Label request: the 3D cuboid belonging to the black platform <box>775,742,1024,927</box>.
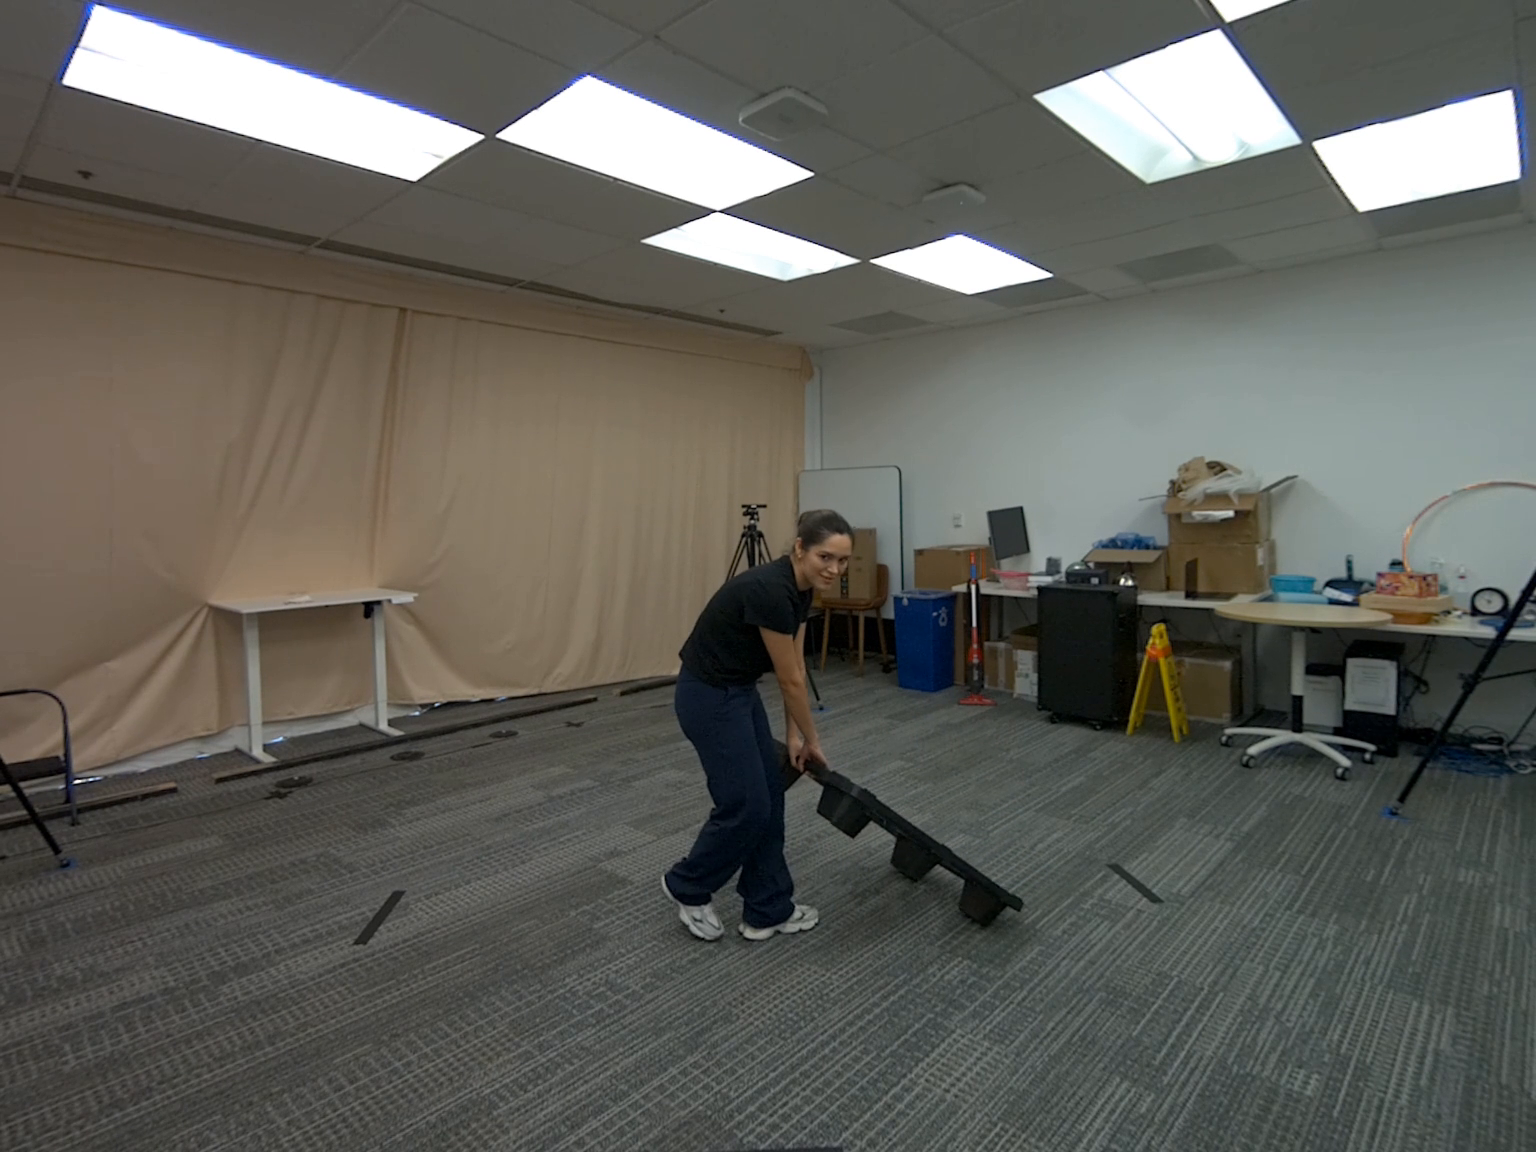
[{"bbox_3d":[0.397,0.866,2.849,0.786,0.143,0.621,39,-14,-21],"label":"black platform"}]
